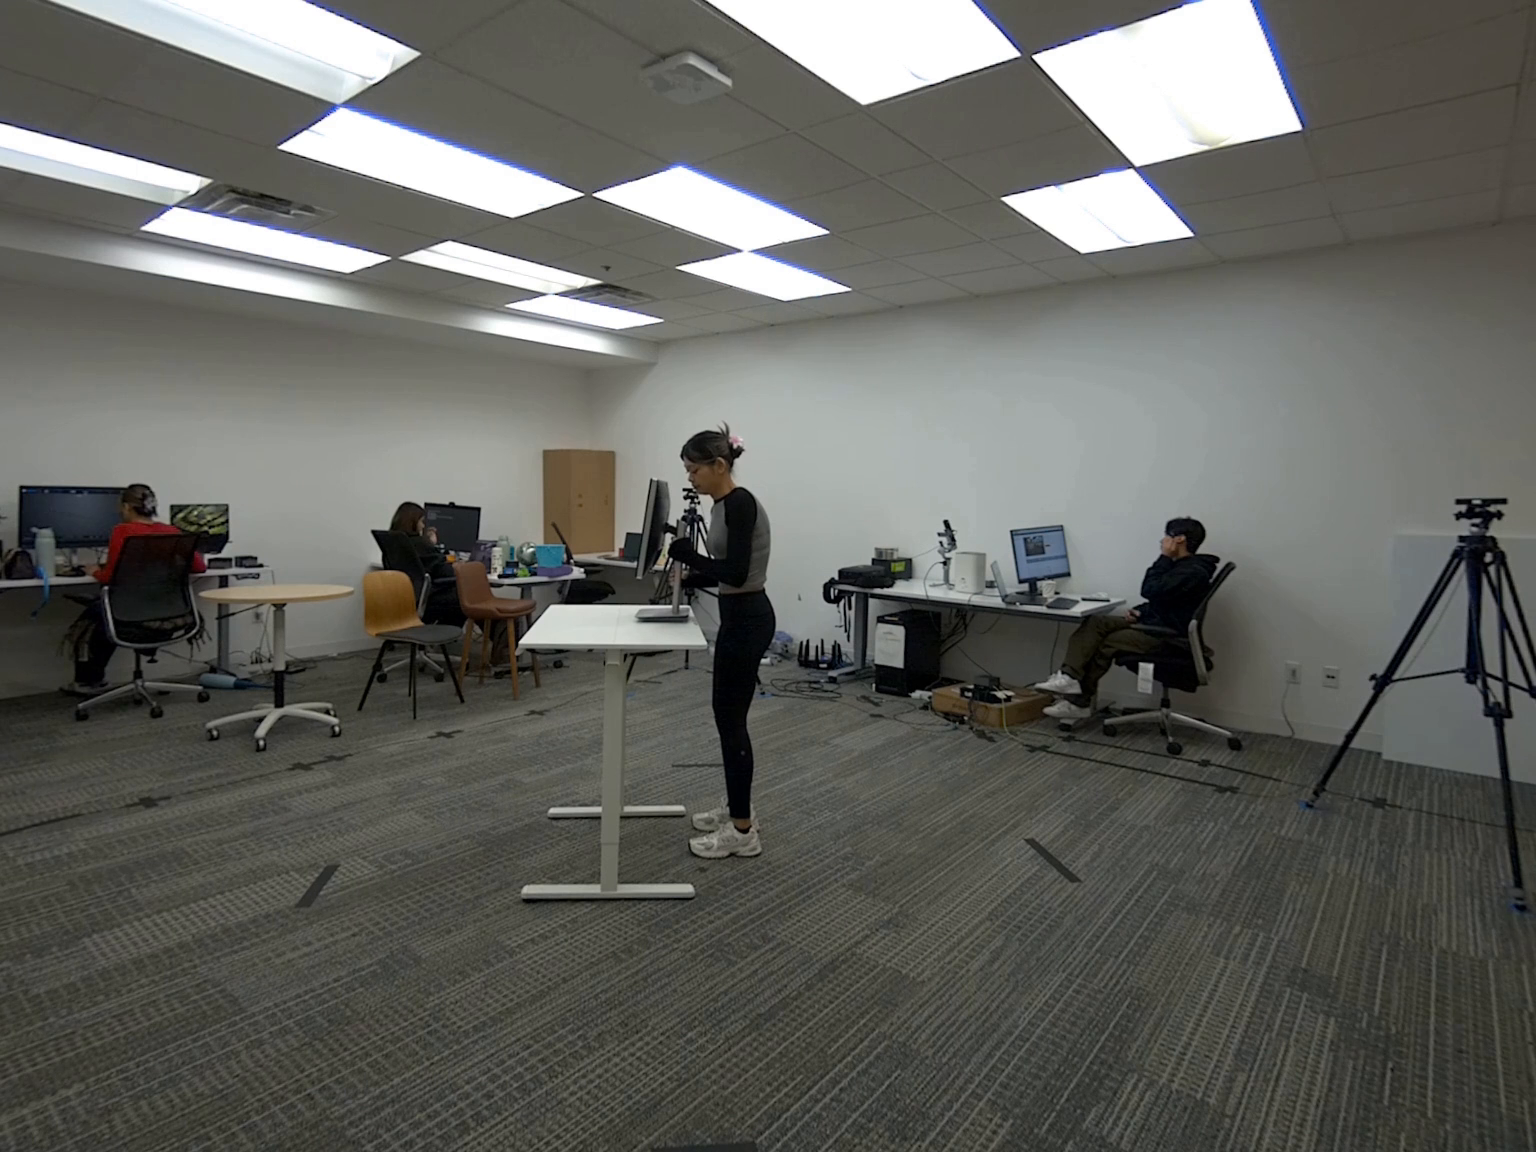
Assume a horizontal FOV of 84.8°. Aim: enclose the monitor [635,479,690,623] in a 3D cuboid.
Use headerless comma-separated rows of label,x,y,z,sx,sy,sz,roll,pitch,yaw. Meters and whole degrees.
monitor,-0.417,-0.103,3.308,0.186,0.521,0.542,-3,3,-4
